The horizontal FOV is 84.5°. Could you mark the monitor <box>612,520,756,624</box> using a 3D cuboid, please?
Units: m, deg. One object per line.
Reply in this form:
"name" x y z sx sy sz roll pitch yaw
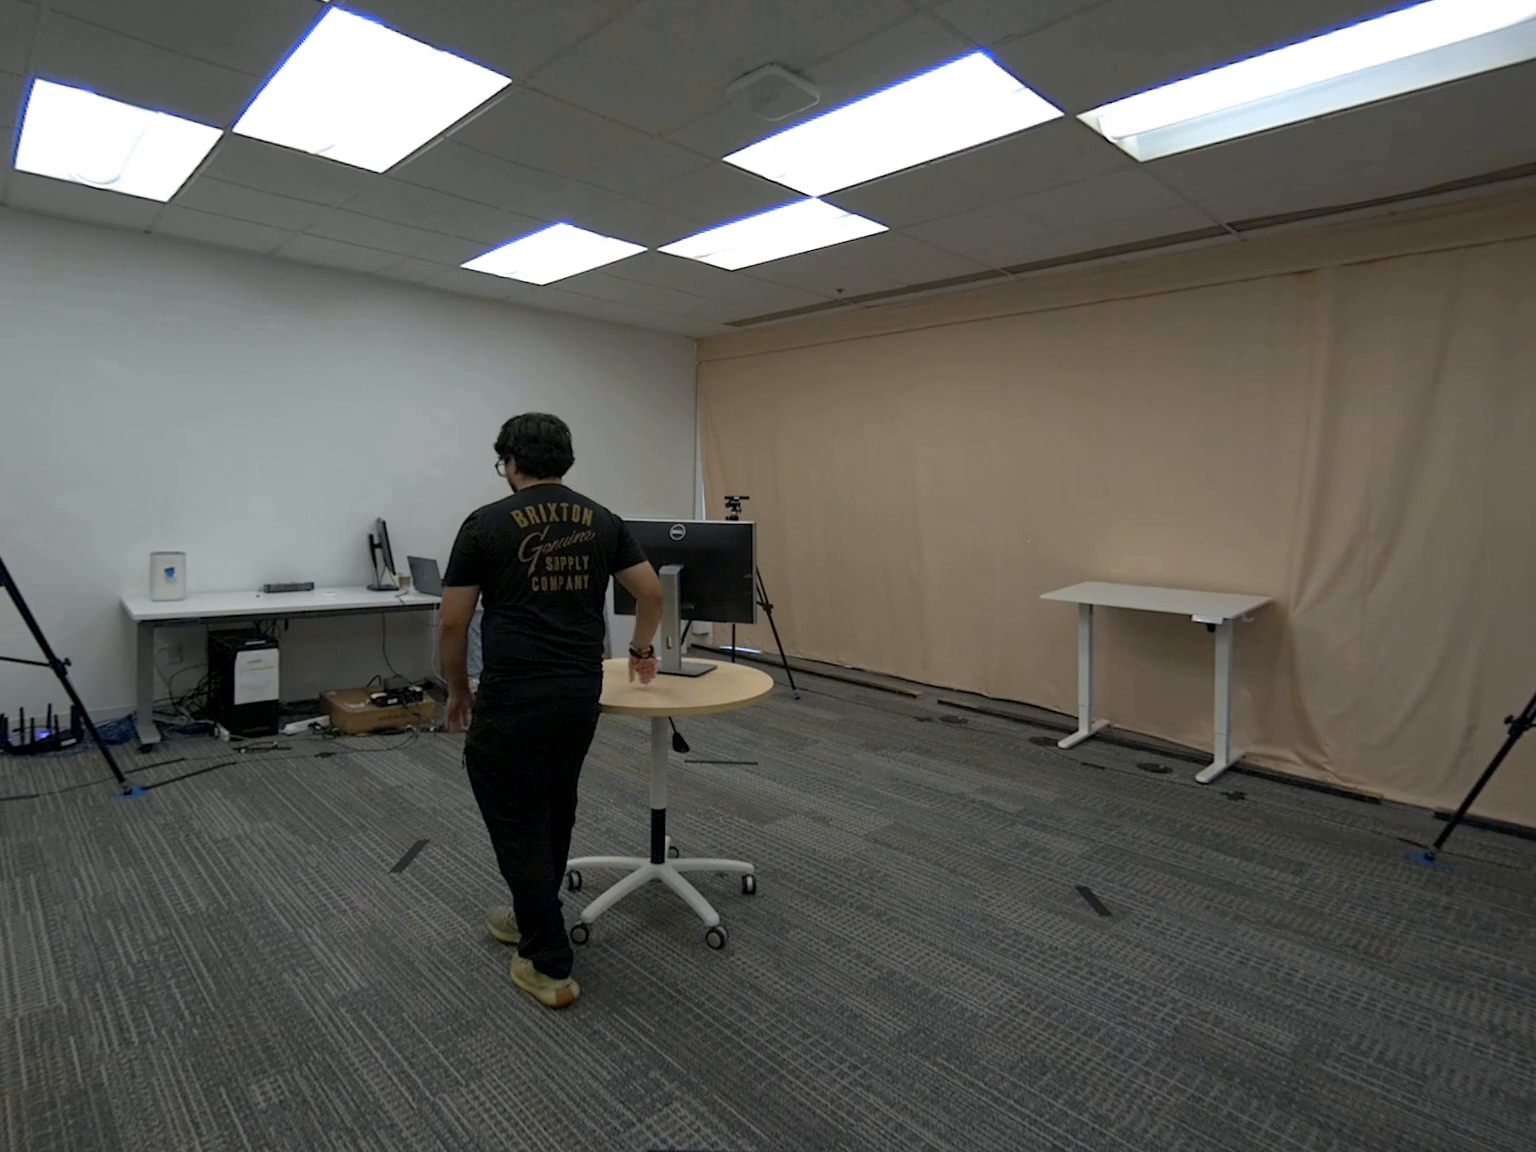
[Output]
"monitor" -0.333 0.078 2.968 0.574 0.551 0.208 3 7 20
